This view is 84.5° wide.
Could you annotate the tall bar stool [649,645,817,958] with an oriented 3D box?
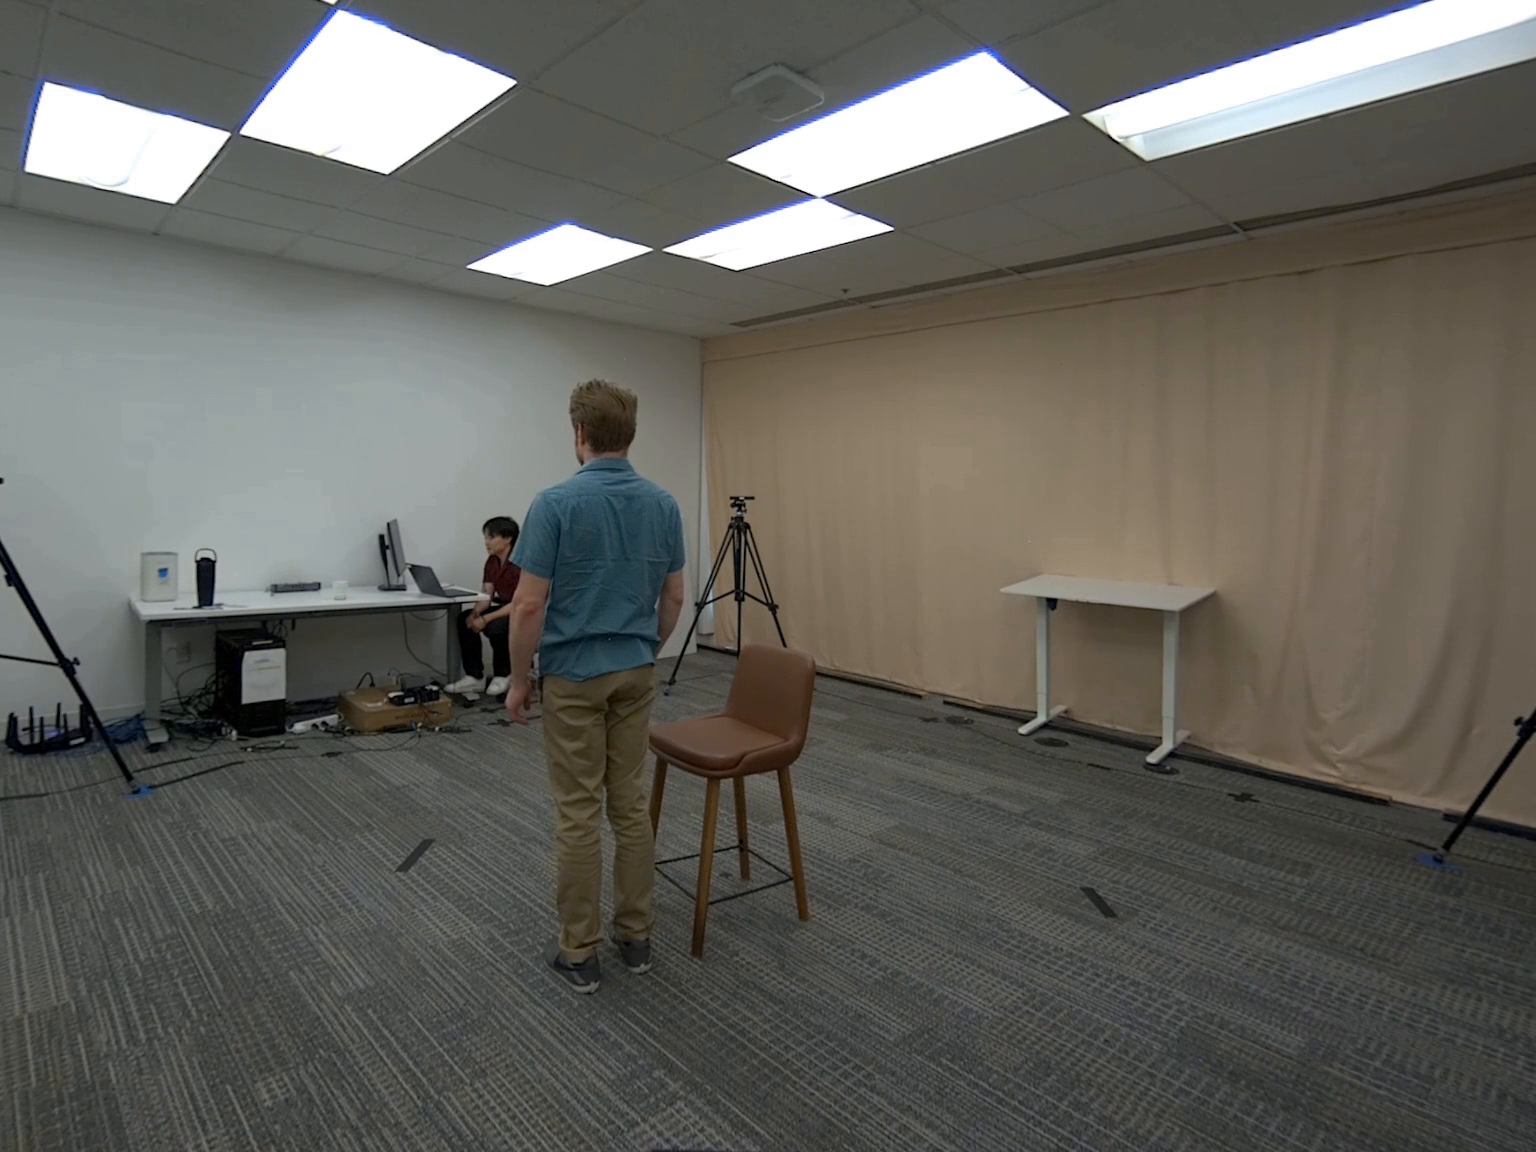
[{"bbox_3d":[-0.142,0.695,2.804,0.457,0.888,0.467,1,2,-34],"label":"tall bar stool"}]
